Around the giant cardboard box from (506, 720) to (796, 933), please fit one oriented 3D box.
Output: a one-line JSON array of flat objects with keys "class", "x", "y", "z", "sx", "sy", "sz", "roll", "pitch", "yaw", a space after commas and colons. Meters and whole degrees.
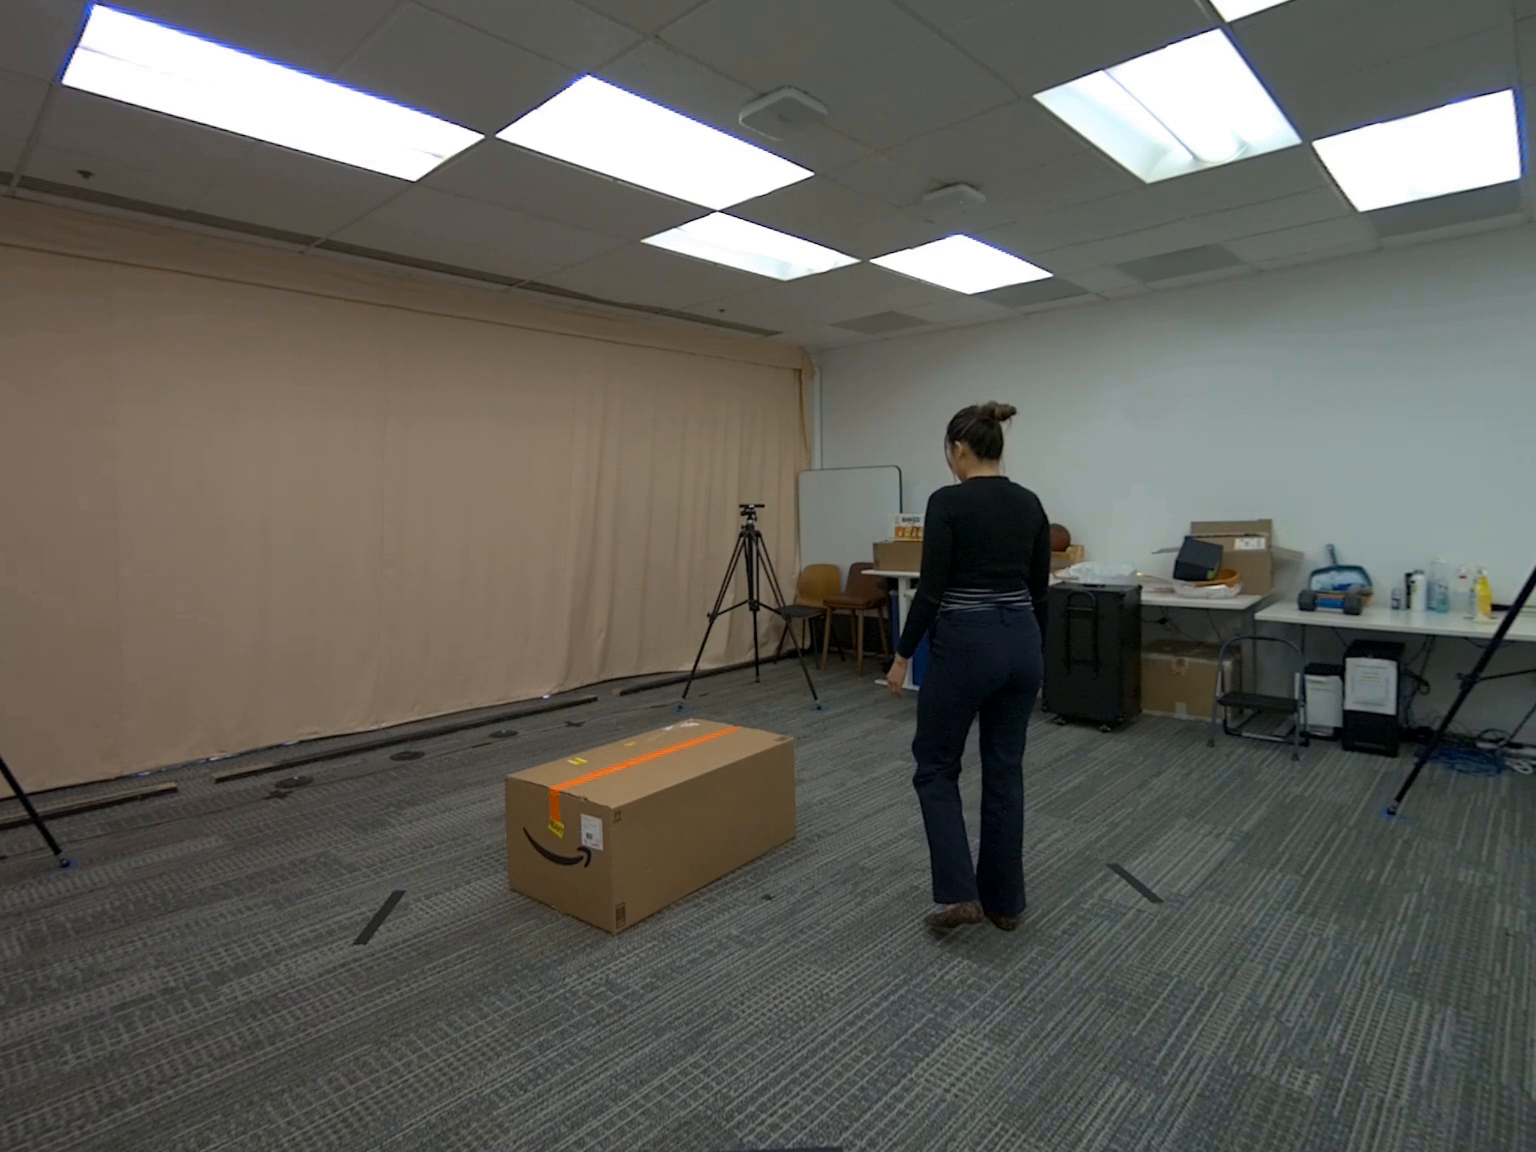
[{"class": "giant cardboard box", "x": -0.422, "y": 0.908, "z": 3.292, "sx": 0.596, "sy": 0.425, "sz": 0.996, "roll": 1, "pitch": 5, "yaw": 39}]
